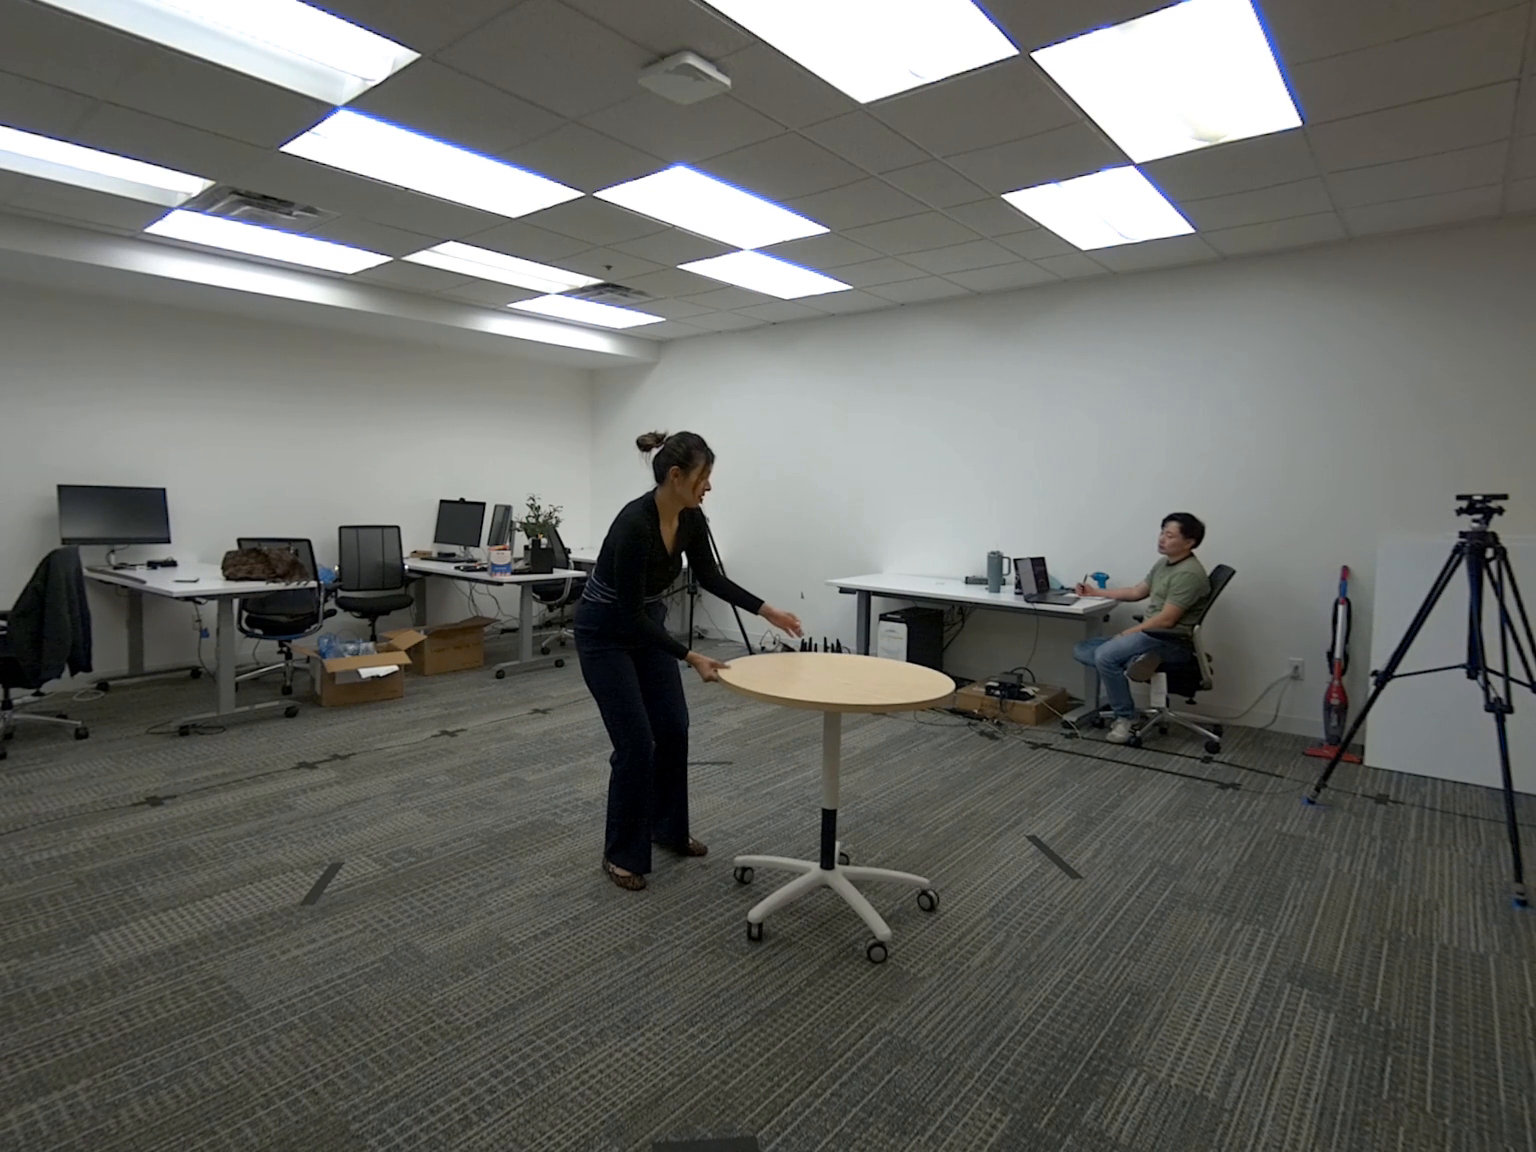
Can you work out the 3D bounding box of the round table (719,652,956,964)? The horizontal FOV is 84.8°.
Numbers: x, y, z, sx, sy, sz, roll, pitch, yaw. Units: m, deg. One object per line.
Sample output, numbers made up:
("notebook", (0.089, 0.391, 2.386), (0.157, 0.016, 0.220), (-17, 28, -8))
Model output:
("round table", (0.198, 0.713, 2.804), (0.763, 0.791, 0.768), (2, 4, -2))
